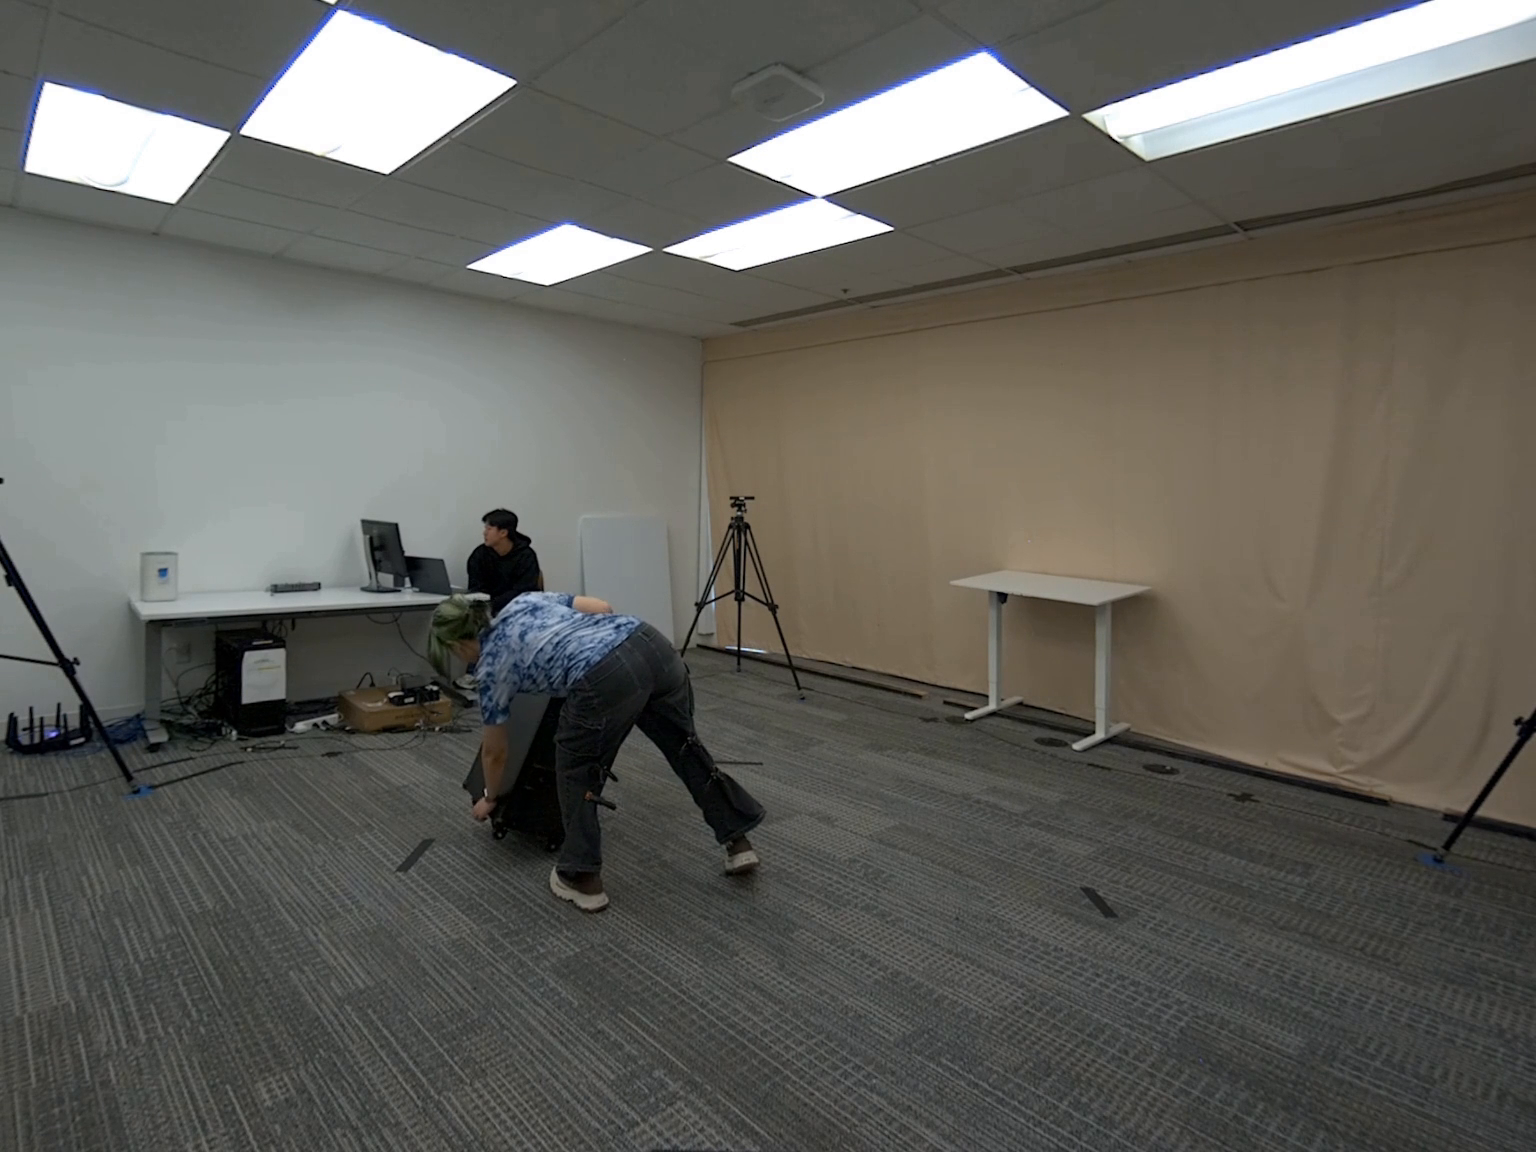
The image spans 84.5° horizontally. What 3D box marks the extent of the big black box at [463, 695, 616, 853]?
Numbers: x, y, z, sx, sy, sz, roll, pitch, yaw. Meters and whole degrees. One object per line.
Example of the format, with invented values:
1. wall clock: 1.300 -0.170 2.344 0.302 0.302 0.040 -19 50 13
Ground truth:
1. big black box: -0.841 0.576 3.423 0.386 0.864 0.533 26 -10 -31
